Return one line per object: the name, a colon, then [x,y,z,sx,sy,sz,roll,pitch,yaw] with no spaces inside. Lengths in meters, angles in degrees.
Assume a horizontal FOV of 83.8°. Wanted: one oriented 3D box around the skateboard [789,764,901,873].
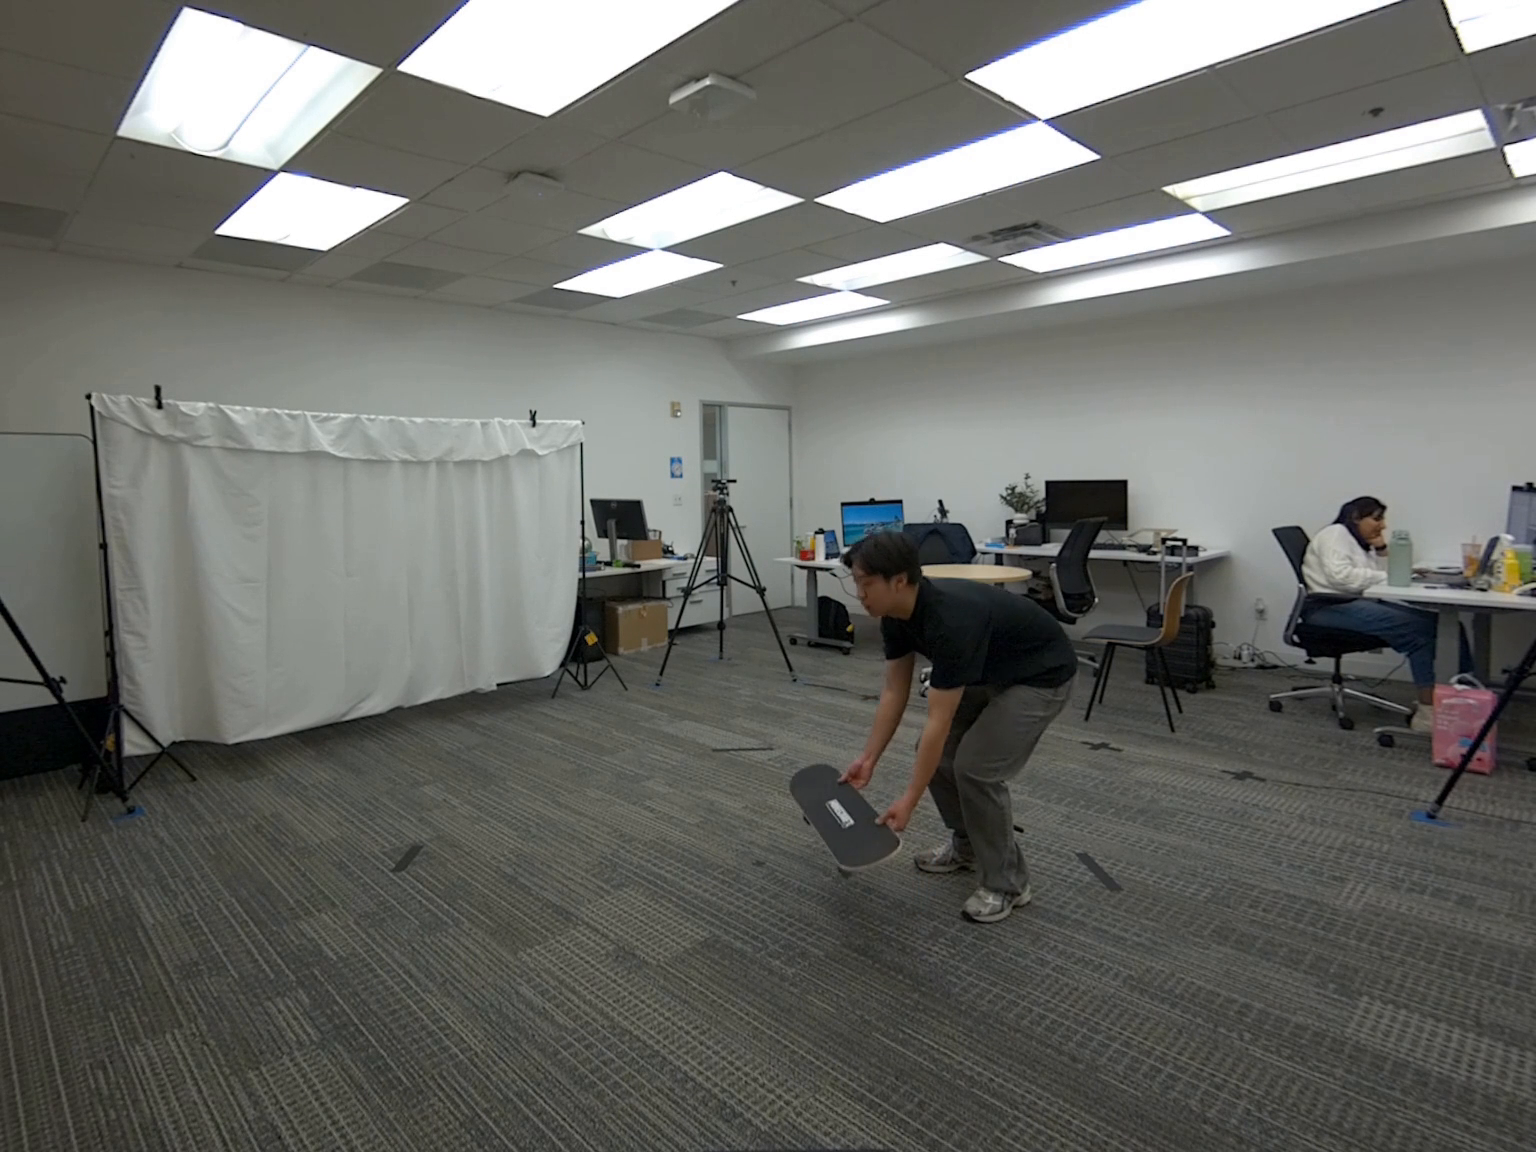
skateboard: [0.240,0.786,2.732,0.192,0.109,0.796,-22,9,-9]
